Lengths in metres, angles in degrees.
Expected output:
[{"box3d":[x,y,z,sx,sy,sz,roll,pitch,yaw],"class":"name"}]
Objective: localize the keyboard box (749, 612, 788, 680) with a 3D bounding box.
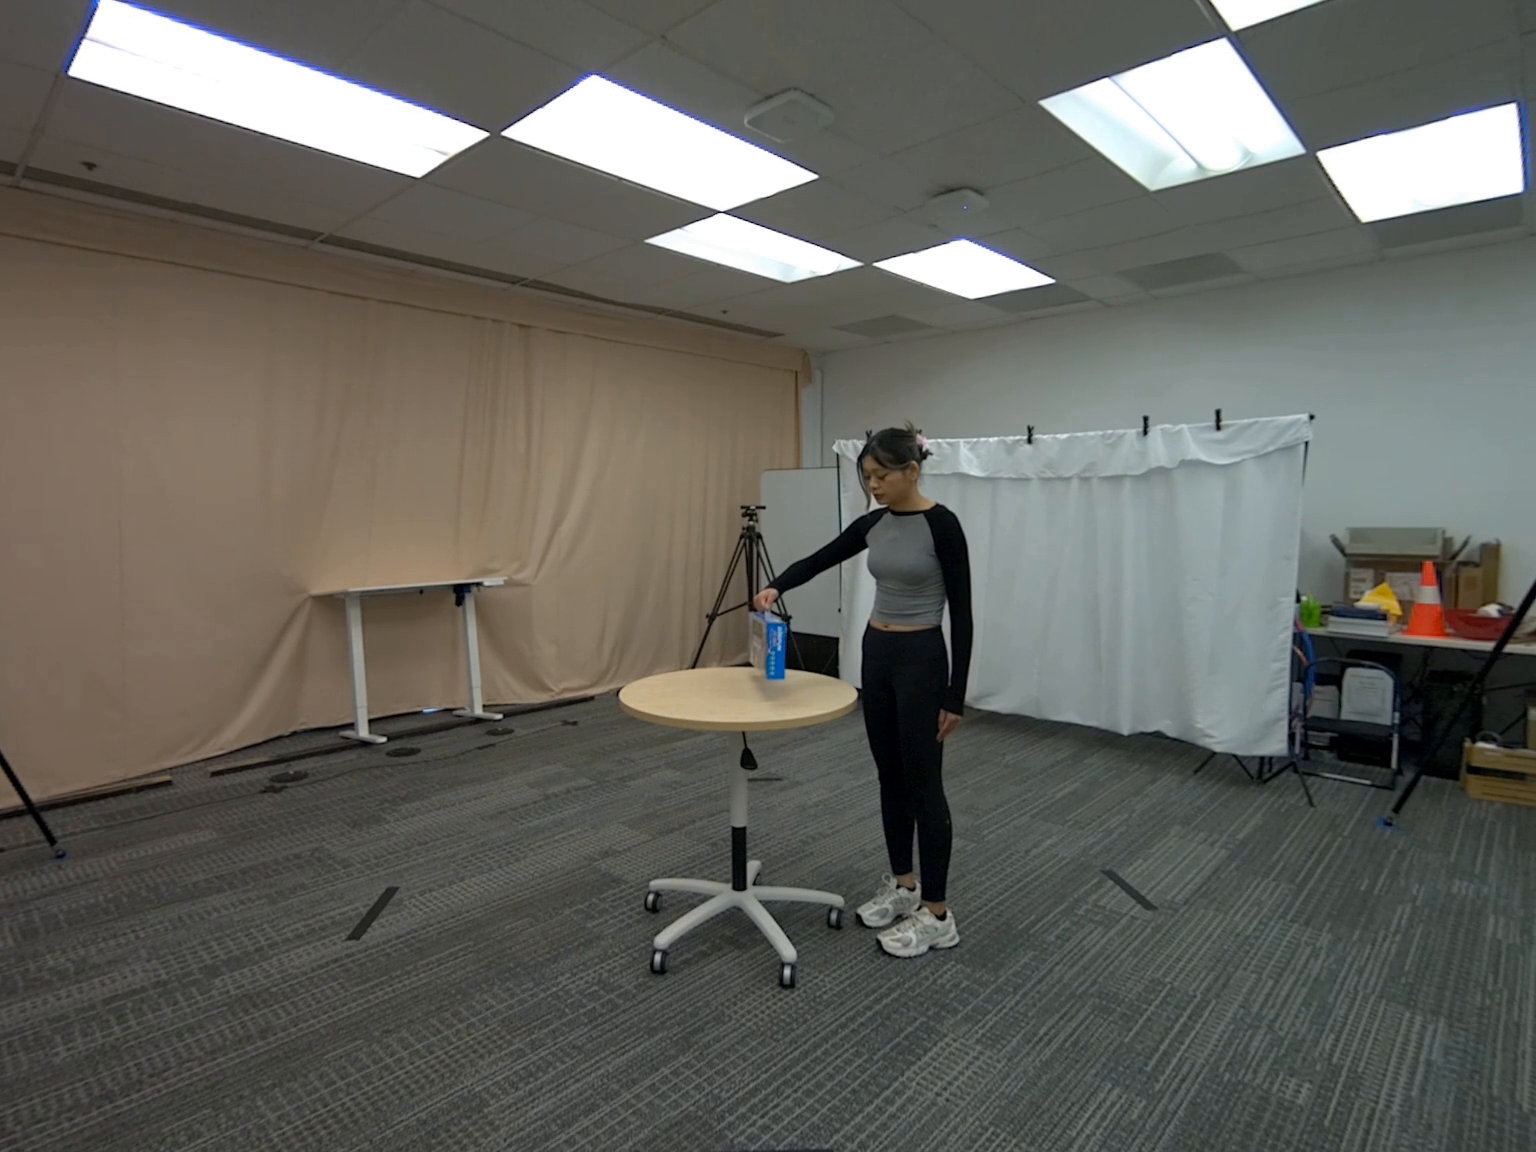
[{"box3d":[-0.001,0.221,2.760,0.058,0.176,0.441,1,2,-10],"class":"keyboard box"}]
